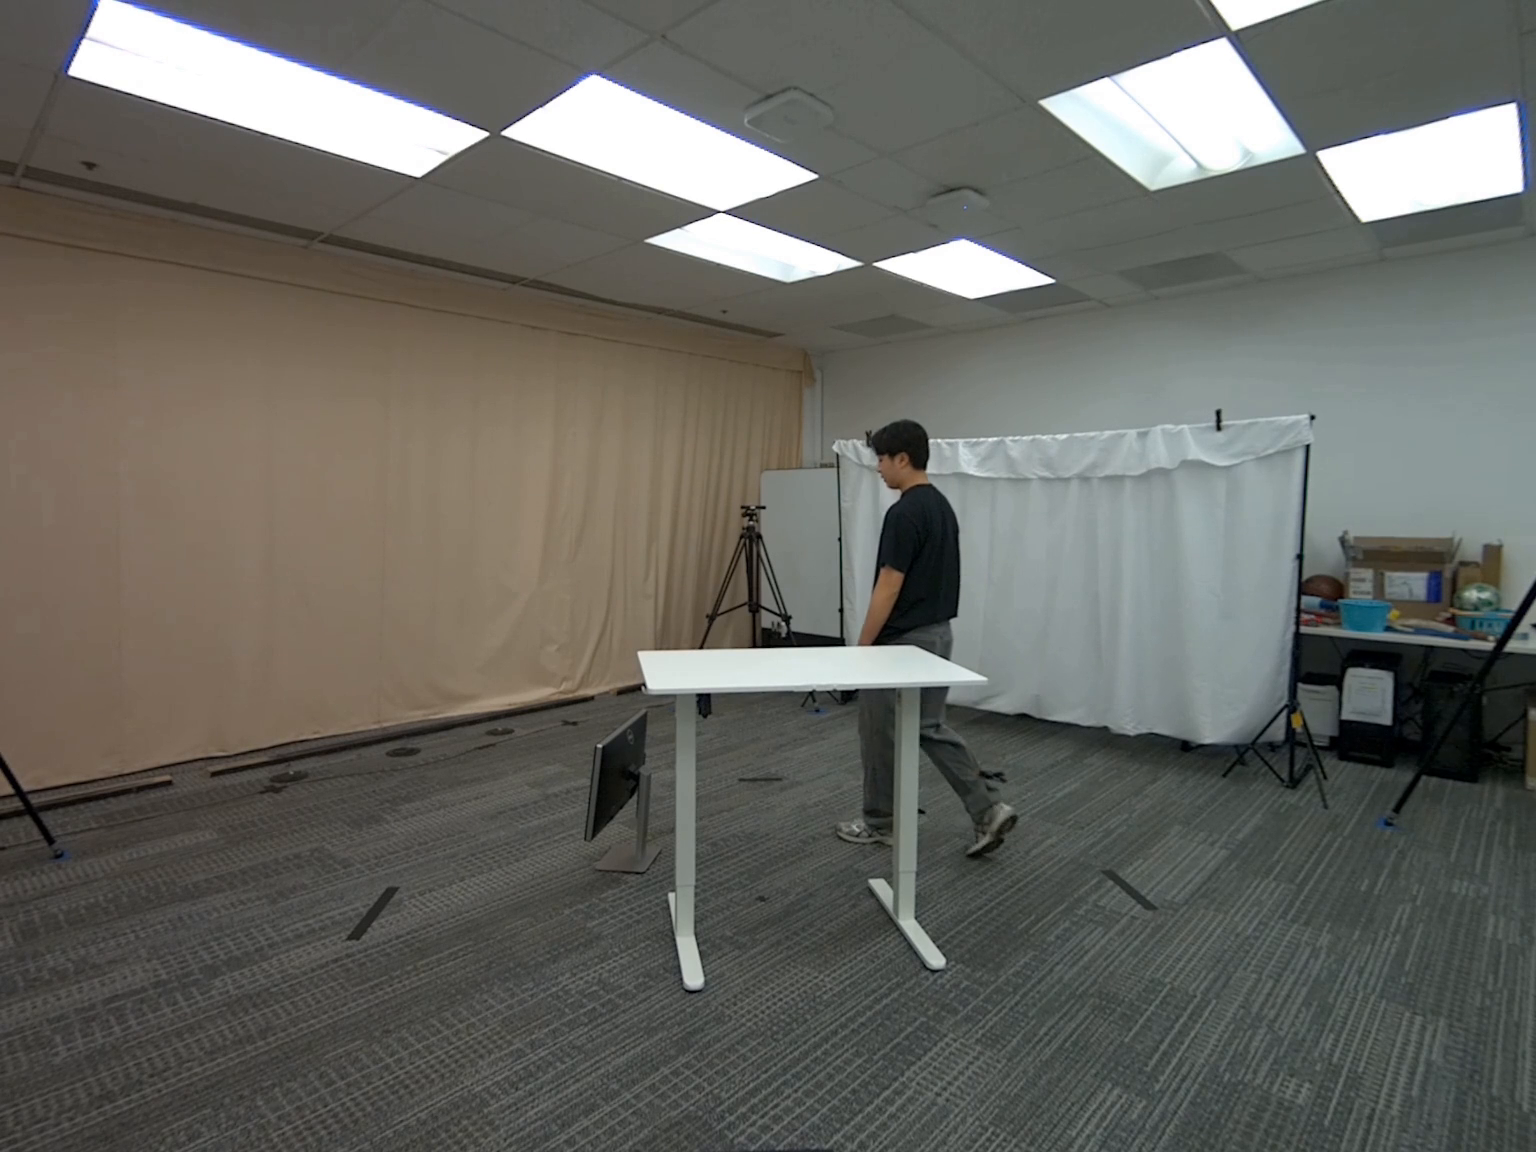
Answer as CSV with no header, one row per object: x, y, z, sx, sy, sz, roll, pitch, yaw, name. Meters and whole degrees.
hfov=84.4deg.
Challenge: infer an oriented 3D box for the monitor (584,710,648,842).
-0.557,0.864,3.308,0.225,0.565,0.554,-4,3,13,monitor
